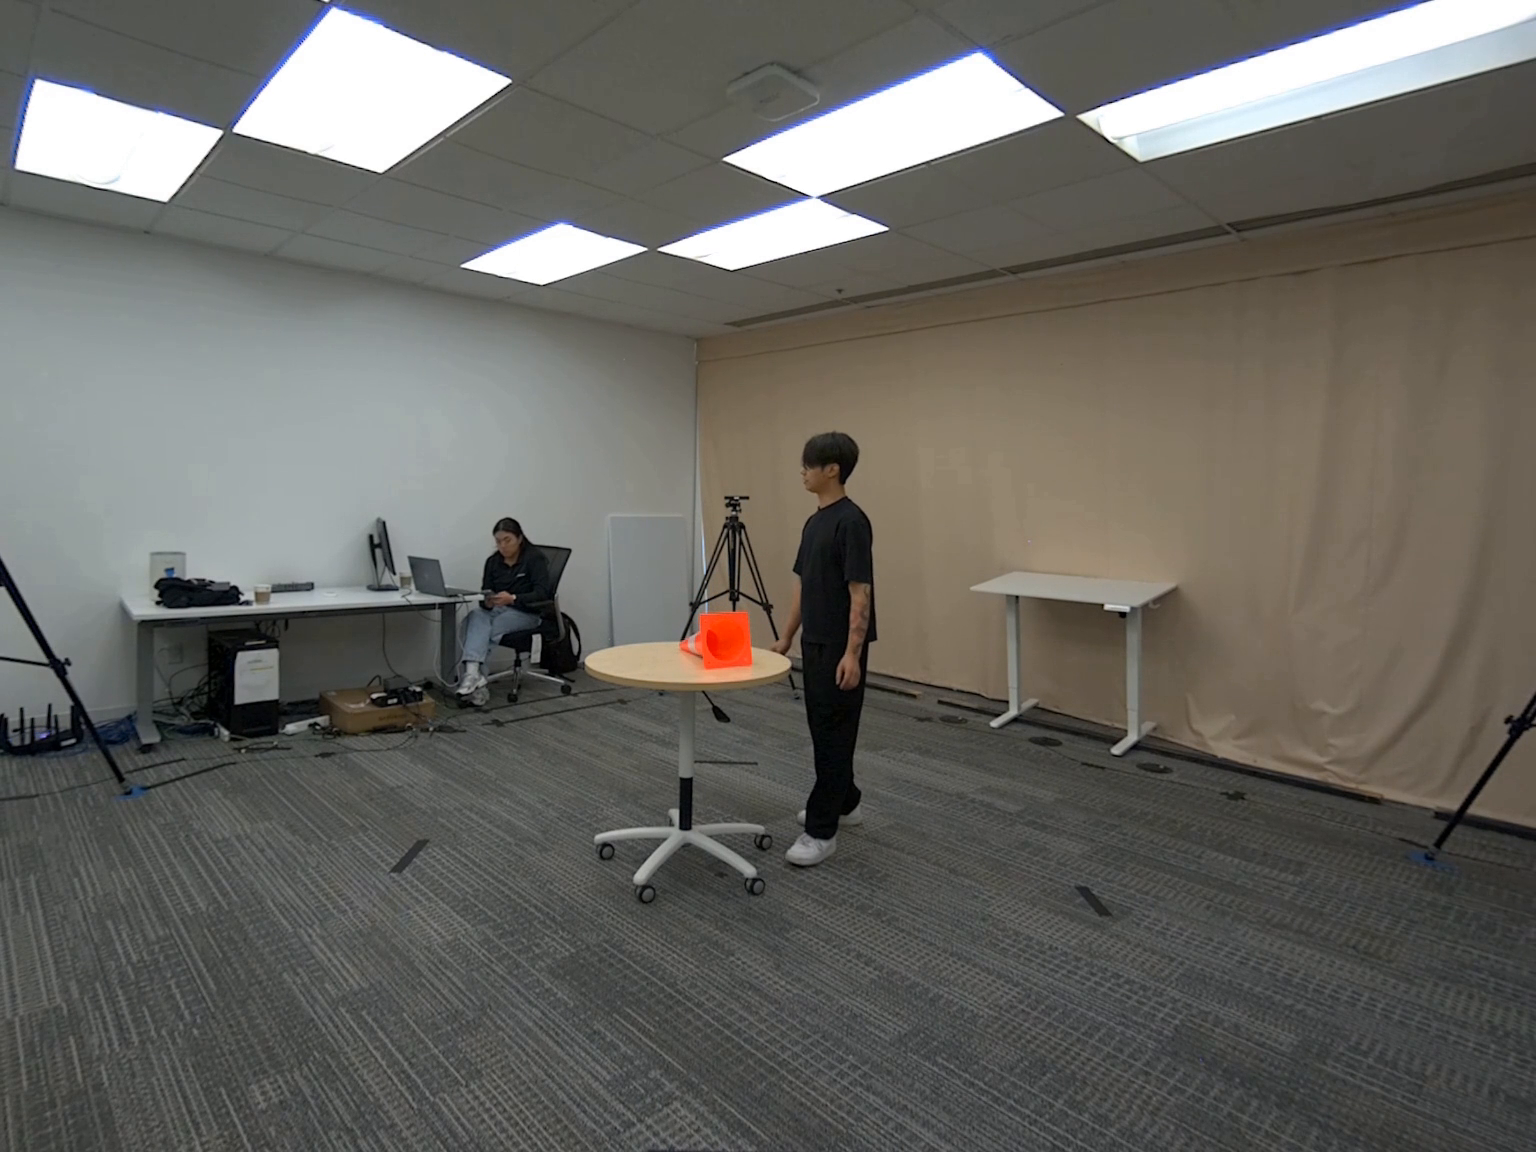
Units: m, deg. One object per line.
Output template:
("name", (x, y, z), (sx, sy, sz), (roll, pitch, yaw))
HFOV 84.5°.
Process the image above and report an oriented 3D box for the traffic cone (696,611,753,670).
("traffic cone", (-0.252, 0.256, 3.193), (0.199, 0.206, 0.389), (-1, -7, -31))
